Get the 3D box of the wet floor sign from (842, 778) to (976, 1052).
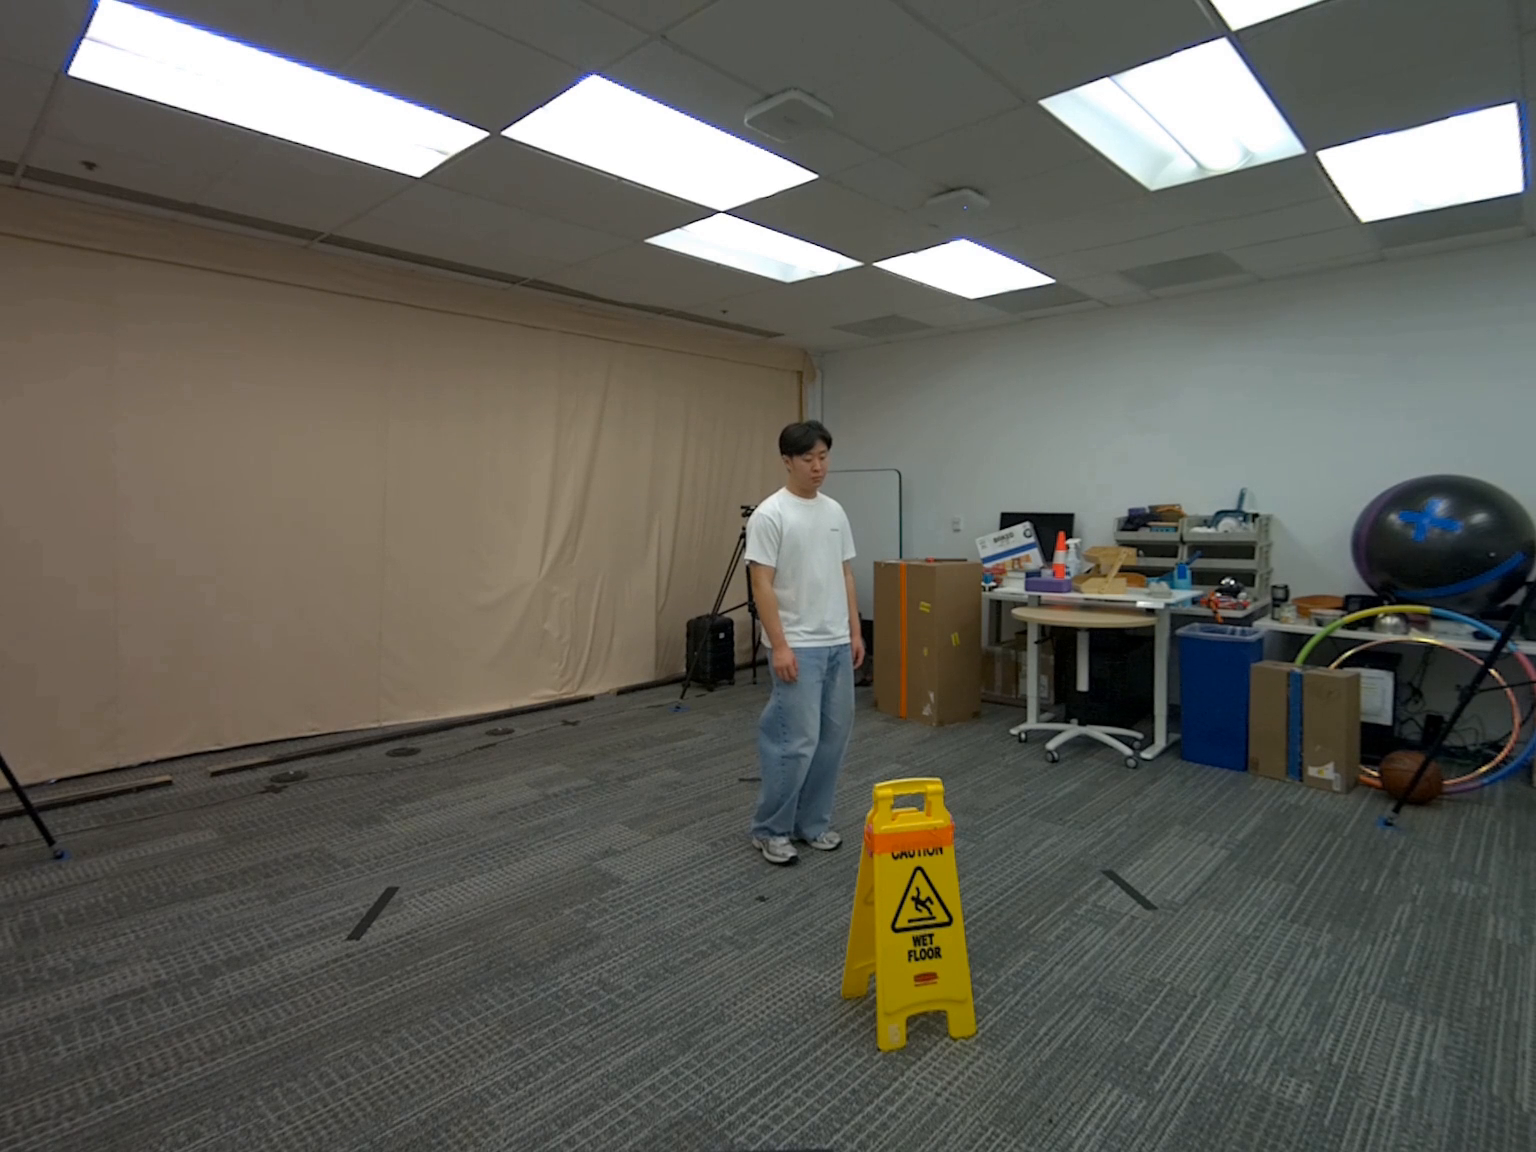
[{"bbox_3d":[0.363,0.880,2.281,0.278,0.645,0.295,-1,3,-16],"label":"wet floor sign"}]
